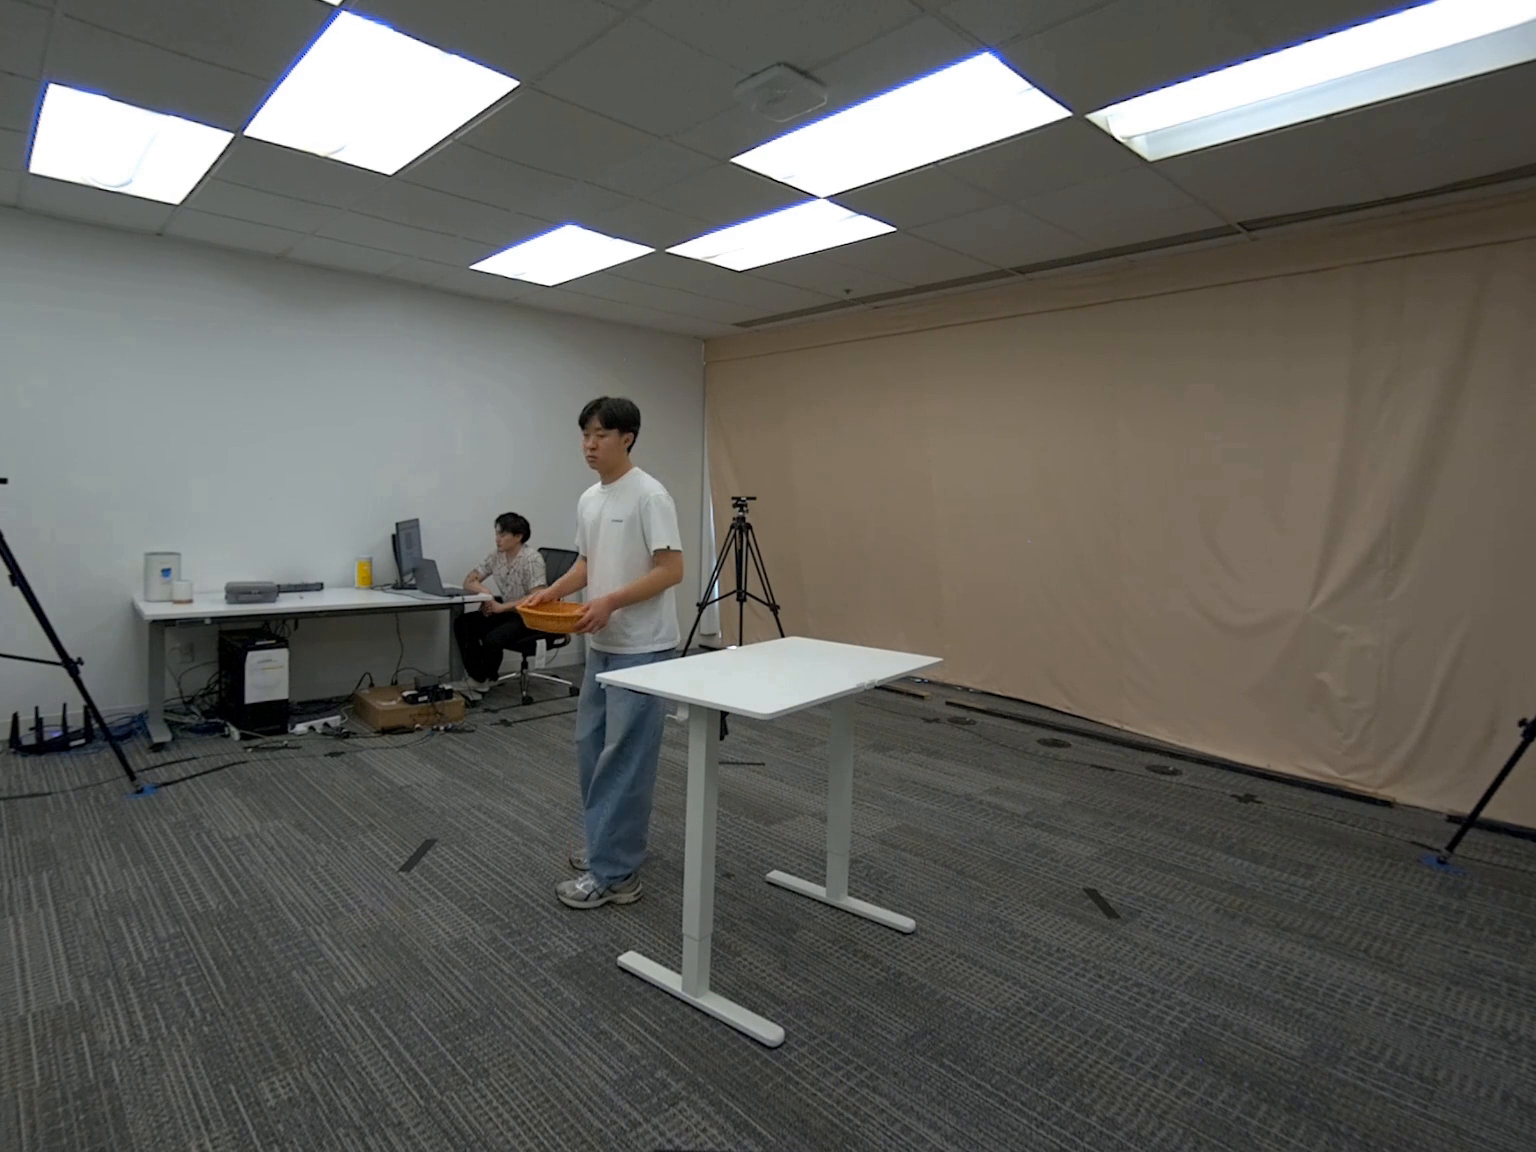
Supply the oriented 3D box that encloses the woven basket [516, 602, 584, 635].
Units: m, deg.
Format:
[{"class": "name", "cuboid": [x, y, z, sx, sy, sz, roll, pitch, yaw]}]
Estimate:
[{"class": "woven basket", "cuboid": [-0.734, 0.145, 2.954, 0.247, 0.073, 0.359, -6, 9, -40]}]
